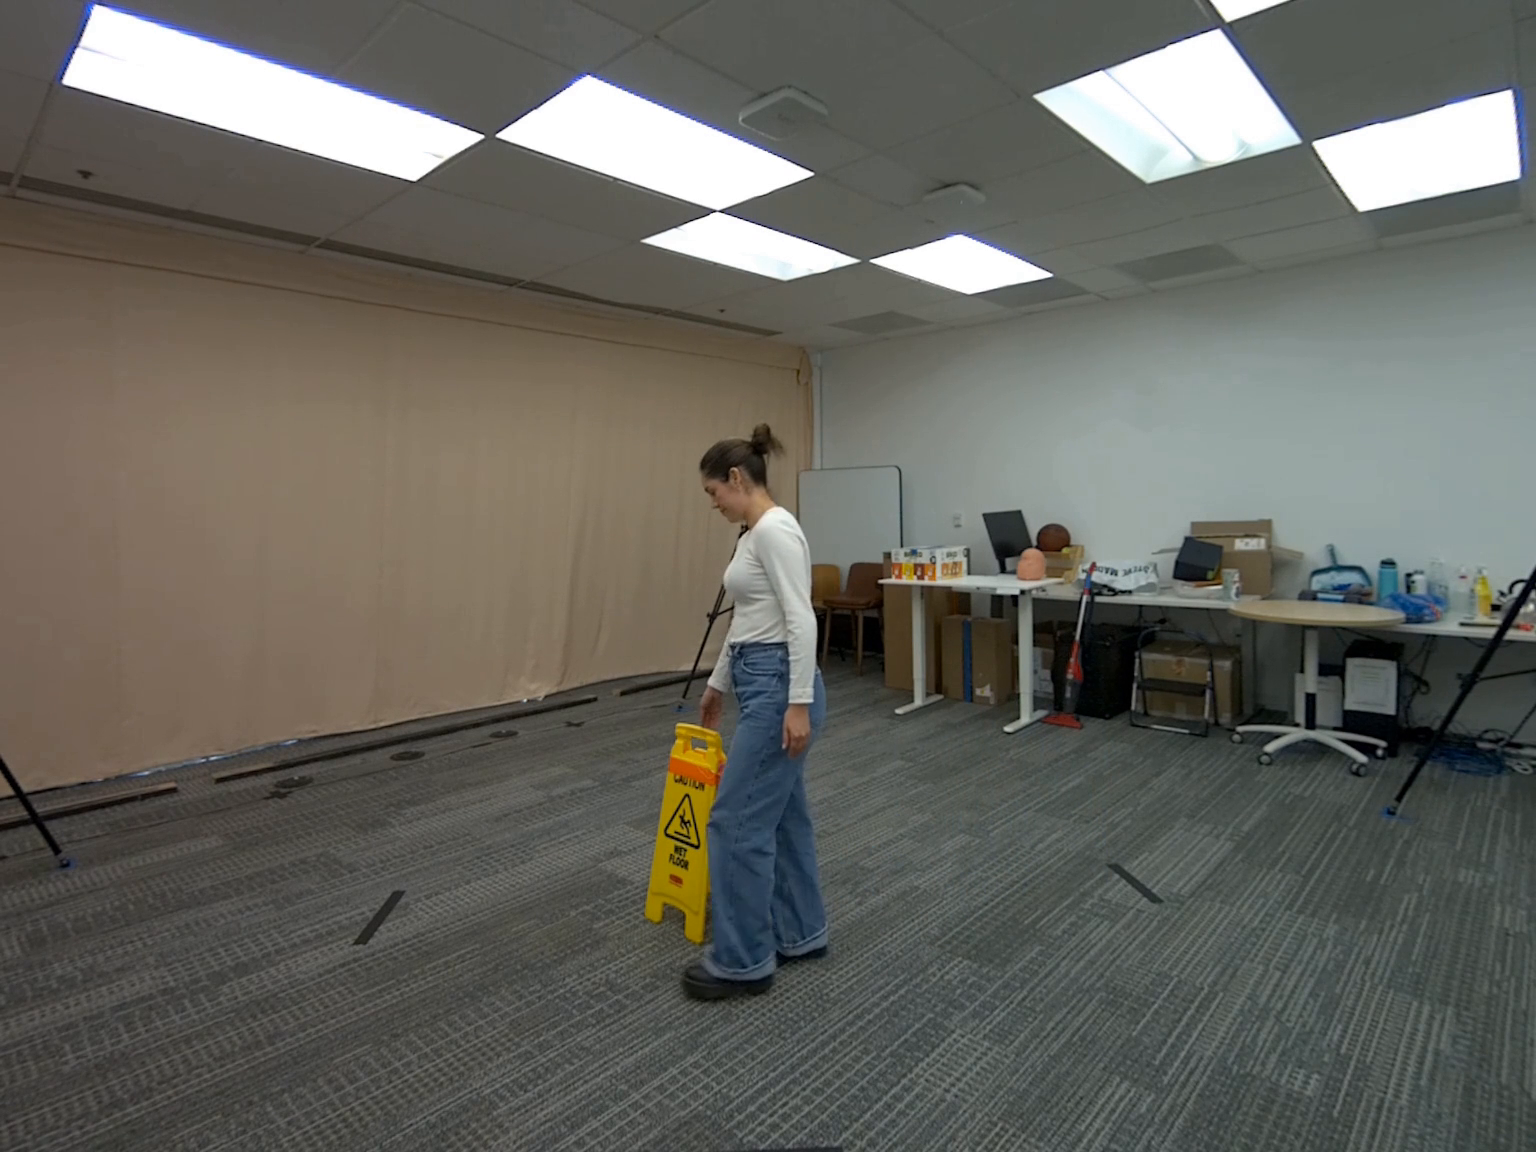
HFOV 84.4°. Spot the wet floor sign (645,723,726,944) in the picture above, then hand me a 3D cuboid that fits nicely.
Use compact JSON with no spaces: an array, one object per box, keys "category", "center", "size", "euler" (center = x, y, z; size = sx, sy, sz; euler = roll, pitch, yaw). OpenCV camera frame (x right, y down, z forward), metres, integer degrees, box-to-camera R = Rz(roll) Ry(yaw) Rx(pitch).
[{"category":"wet floor sign","center":[-0.230,0.831,2.846],"size":[0.291,0.645,0.281],"euler":[1,4,43]}]
